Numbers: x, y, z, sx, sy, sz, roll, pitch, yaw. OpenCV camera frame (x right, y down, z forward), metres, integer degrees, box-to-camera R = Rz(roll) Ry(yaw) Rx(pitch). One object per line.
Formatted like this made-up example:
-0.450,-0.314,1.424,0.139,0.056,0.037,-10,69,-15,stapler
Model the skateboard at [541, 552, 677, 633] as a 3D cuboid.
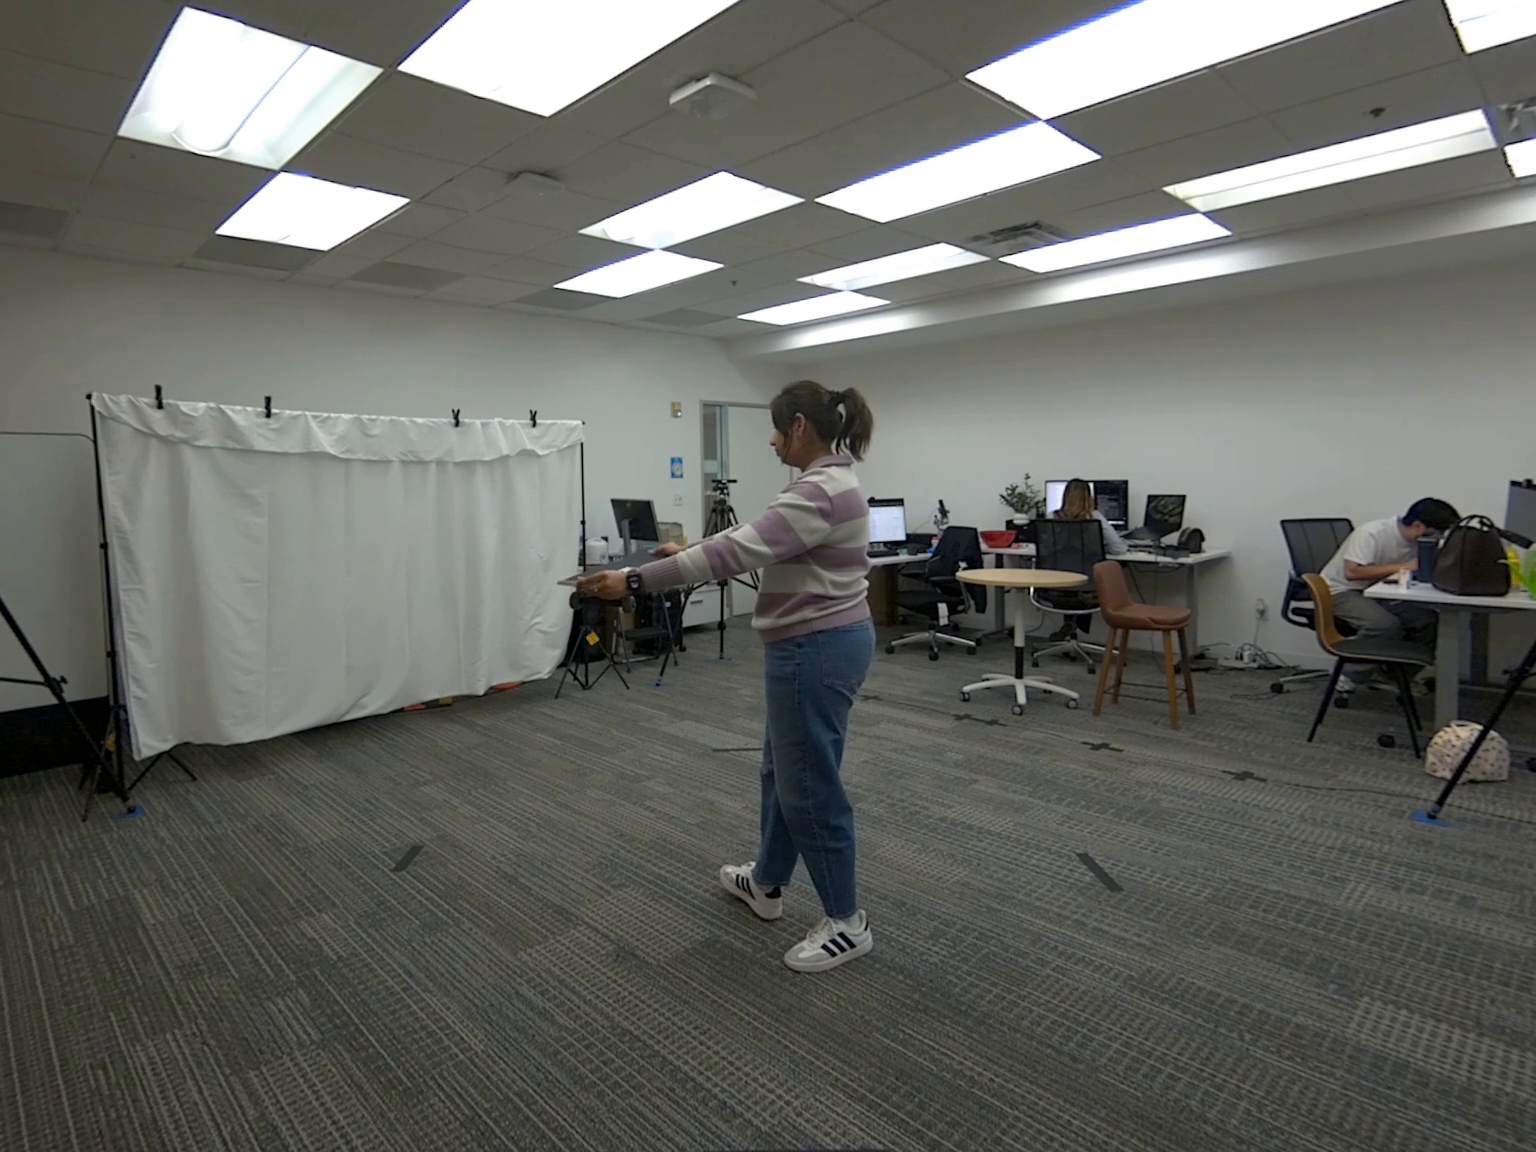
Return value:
-0.432,0.029,2.512,0.195,0.109,0.784,0,8,6,skateboard
